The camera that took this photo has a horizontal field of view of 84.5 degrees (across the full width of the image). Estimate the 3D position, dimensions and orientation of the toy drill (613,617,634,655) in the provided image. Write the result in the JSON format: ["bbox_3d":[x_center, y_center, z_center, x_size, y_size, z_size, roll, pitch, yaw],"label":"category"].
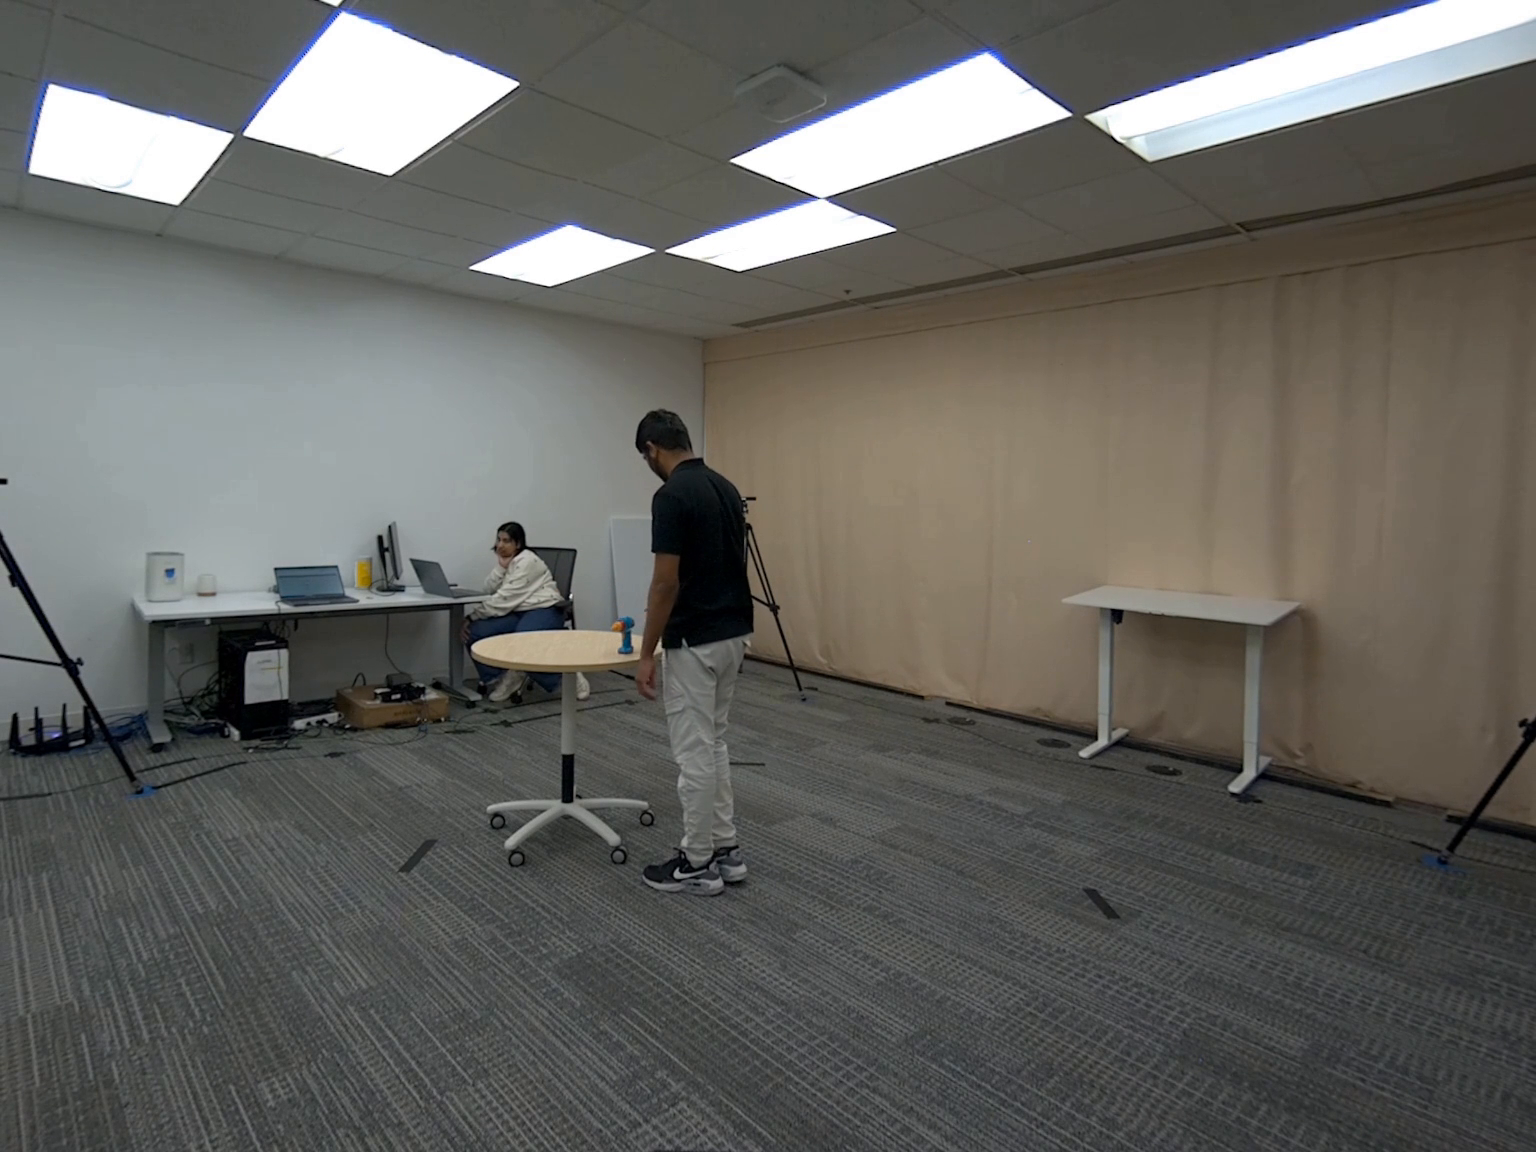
[{"bbox_3d":[-0.565,0.232,3.248,0.062,0.145,0.168,3,5,15],"label":"toy drill"}]
